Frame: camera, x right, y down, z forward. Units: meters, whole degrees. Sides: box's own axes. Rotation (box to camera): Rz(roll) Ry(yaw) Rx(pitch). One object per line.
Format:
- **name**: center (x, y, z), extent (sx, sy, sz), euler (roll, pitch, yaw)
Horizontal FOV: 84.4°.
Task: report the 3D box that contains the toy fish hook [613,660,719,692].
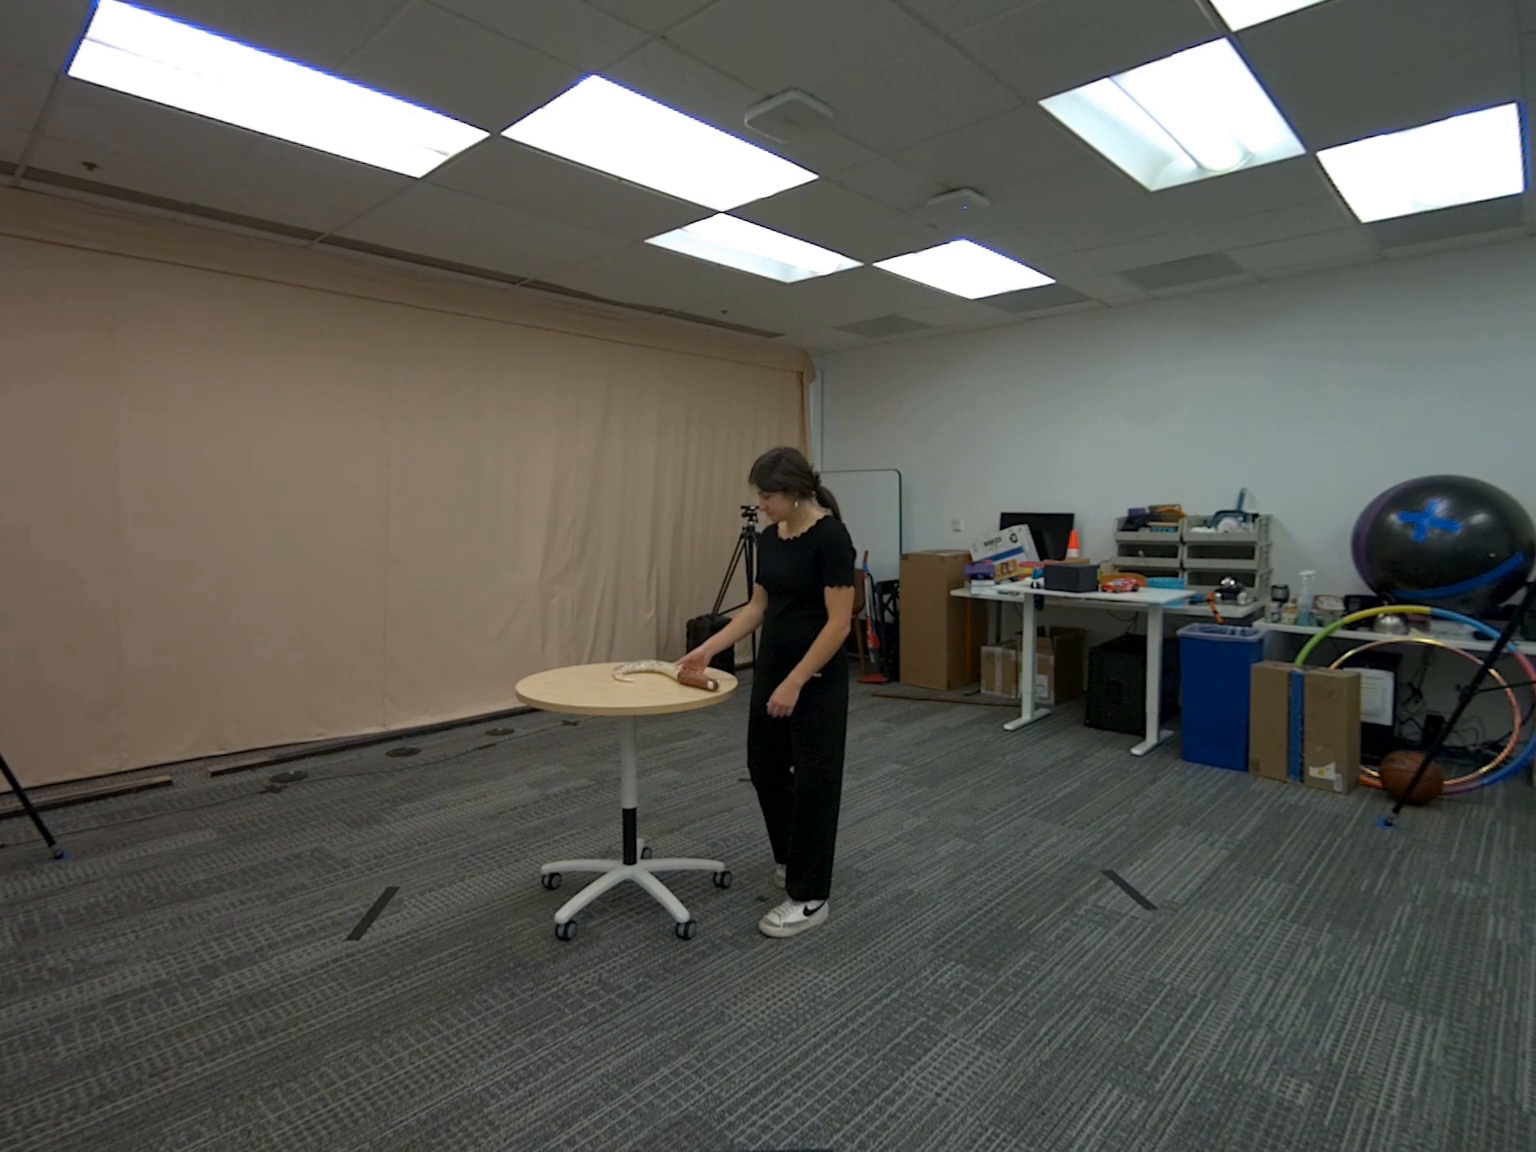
- **toy fish hook**: center (-0.368, 0.363, 2.916), extent (0.219, 0.048, 0.523), euler (-15, 12, -37)
